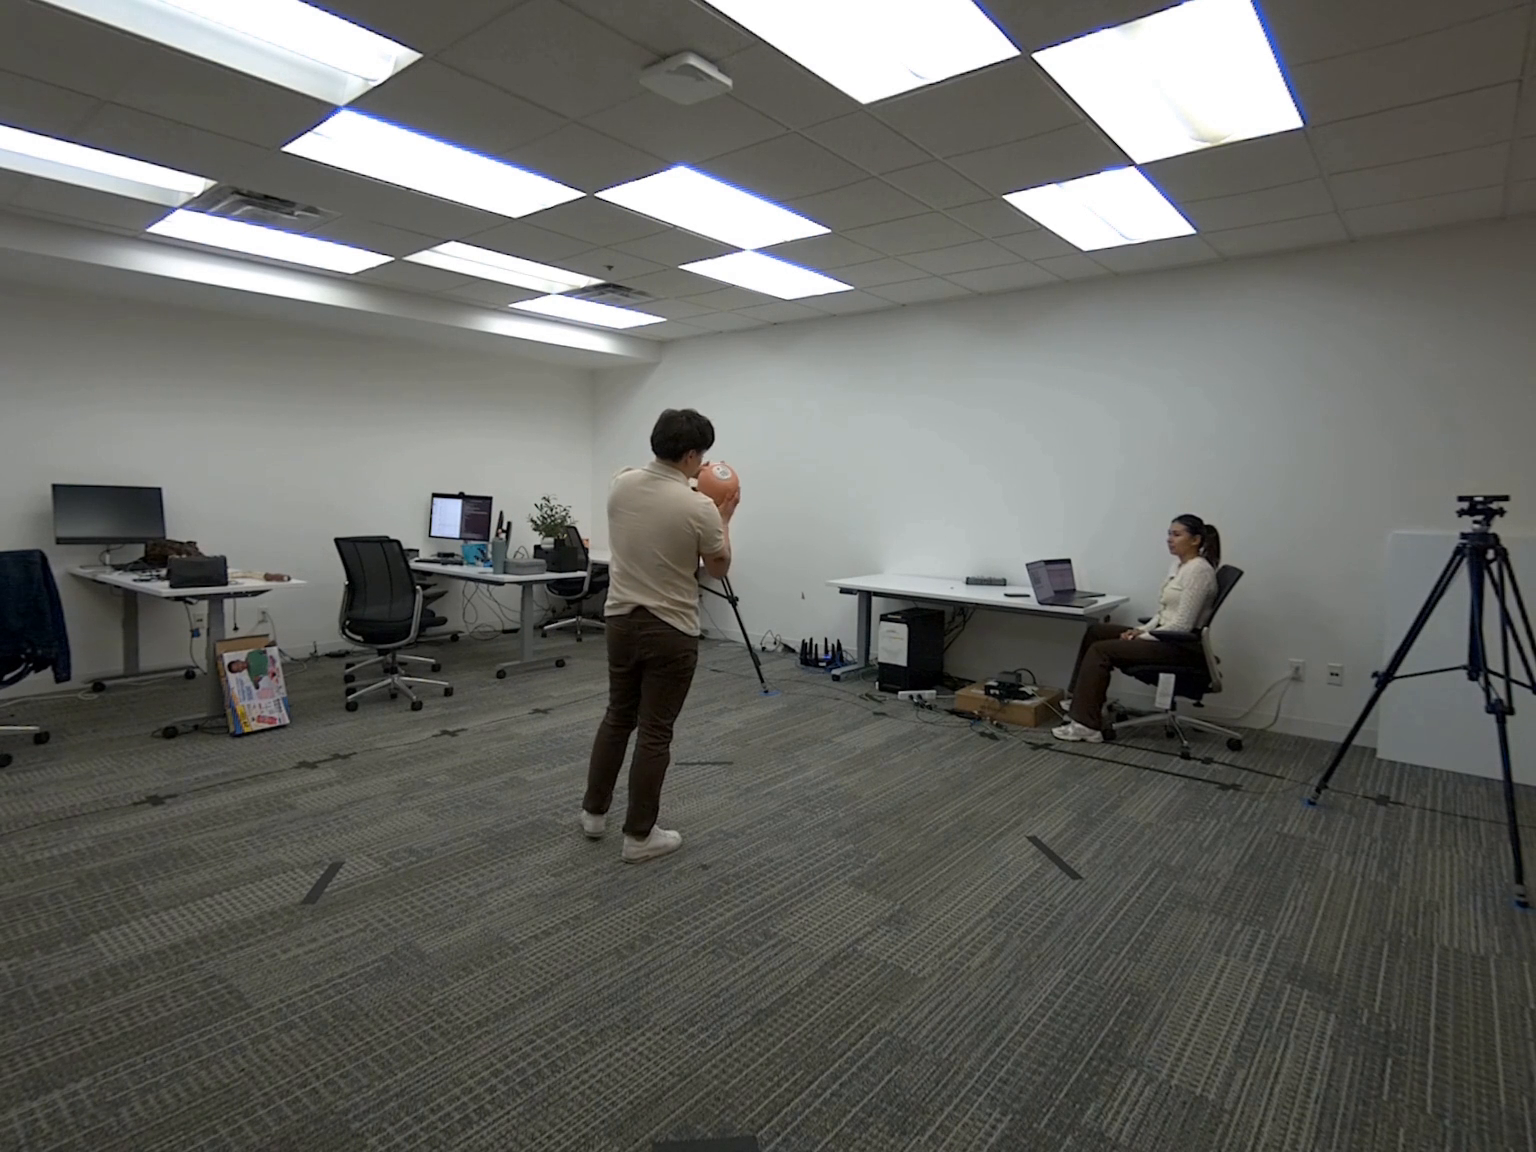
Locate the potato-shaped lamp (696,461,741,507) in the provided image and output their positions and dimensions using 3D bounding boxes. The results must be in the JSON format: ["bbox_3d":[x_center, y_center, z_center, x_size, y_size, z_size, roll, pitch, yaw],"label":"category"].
[{"bbox_3d":[-0.218,-0.346,3.421,0.162,0.177,0.195,-21,-30,-35],"label":"potato-shaped lamp"}]
